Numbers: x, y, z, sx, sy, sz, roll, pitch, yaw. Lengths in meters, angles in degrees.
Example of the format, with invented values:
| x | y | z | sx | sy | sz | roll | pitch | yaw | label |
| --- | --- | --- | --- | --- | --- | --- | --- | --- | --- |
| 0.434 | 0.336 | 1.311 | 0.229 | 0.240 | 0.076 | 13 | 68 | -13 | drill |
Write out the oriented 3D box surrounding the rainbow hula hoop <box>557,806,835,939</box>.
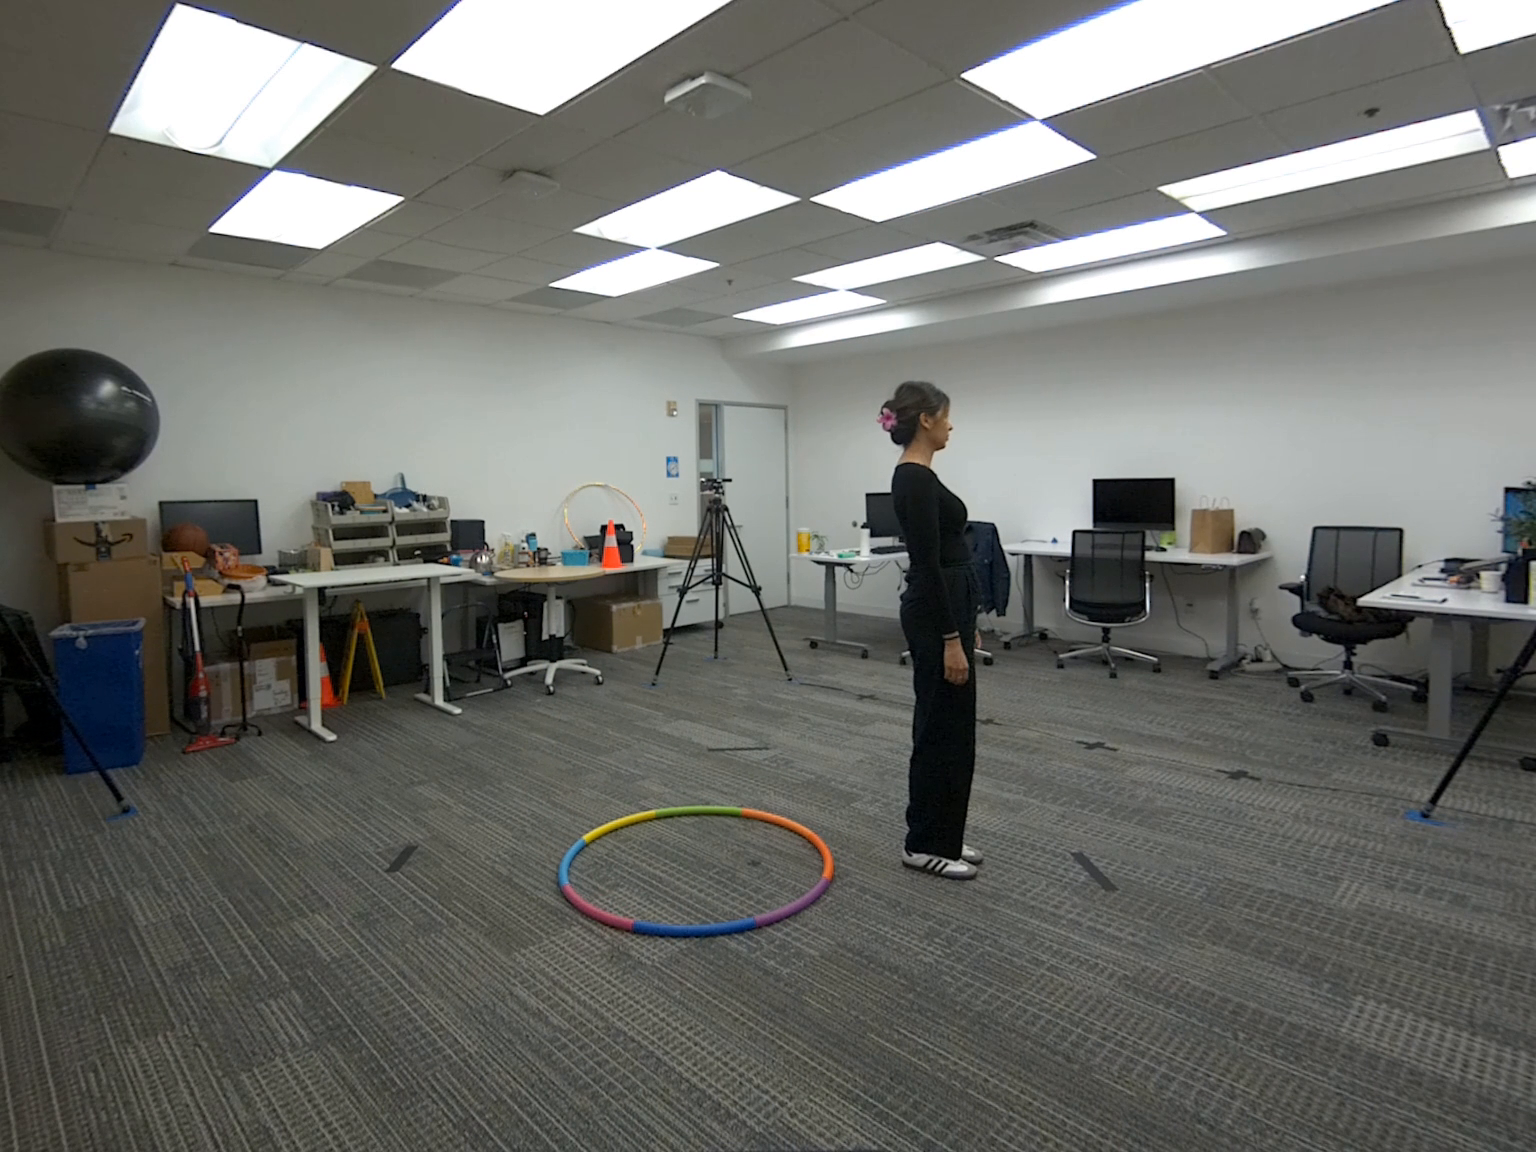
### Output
| x | y | z | sx | sy | sz | roll | pitch | yaw | label |
| --- | --- | --- | --- | --- | --- | --- | --- | --- | --- |
| -0.258 | 1.018 | 3.095 | 0.978 | 0.035 | 0.984 | -1 | 7 | -2 | rainbow hula hoop |
